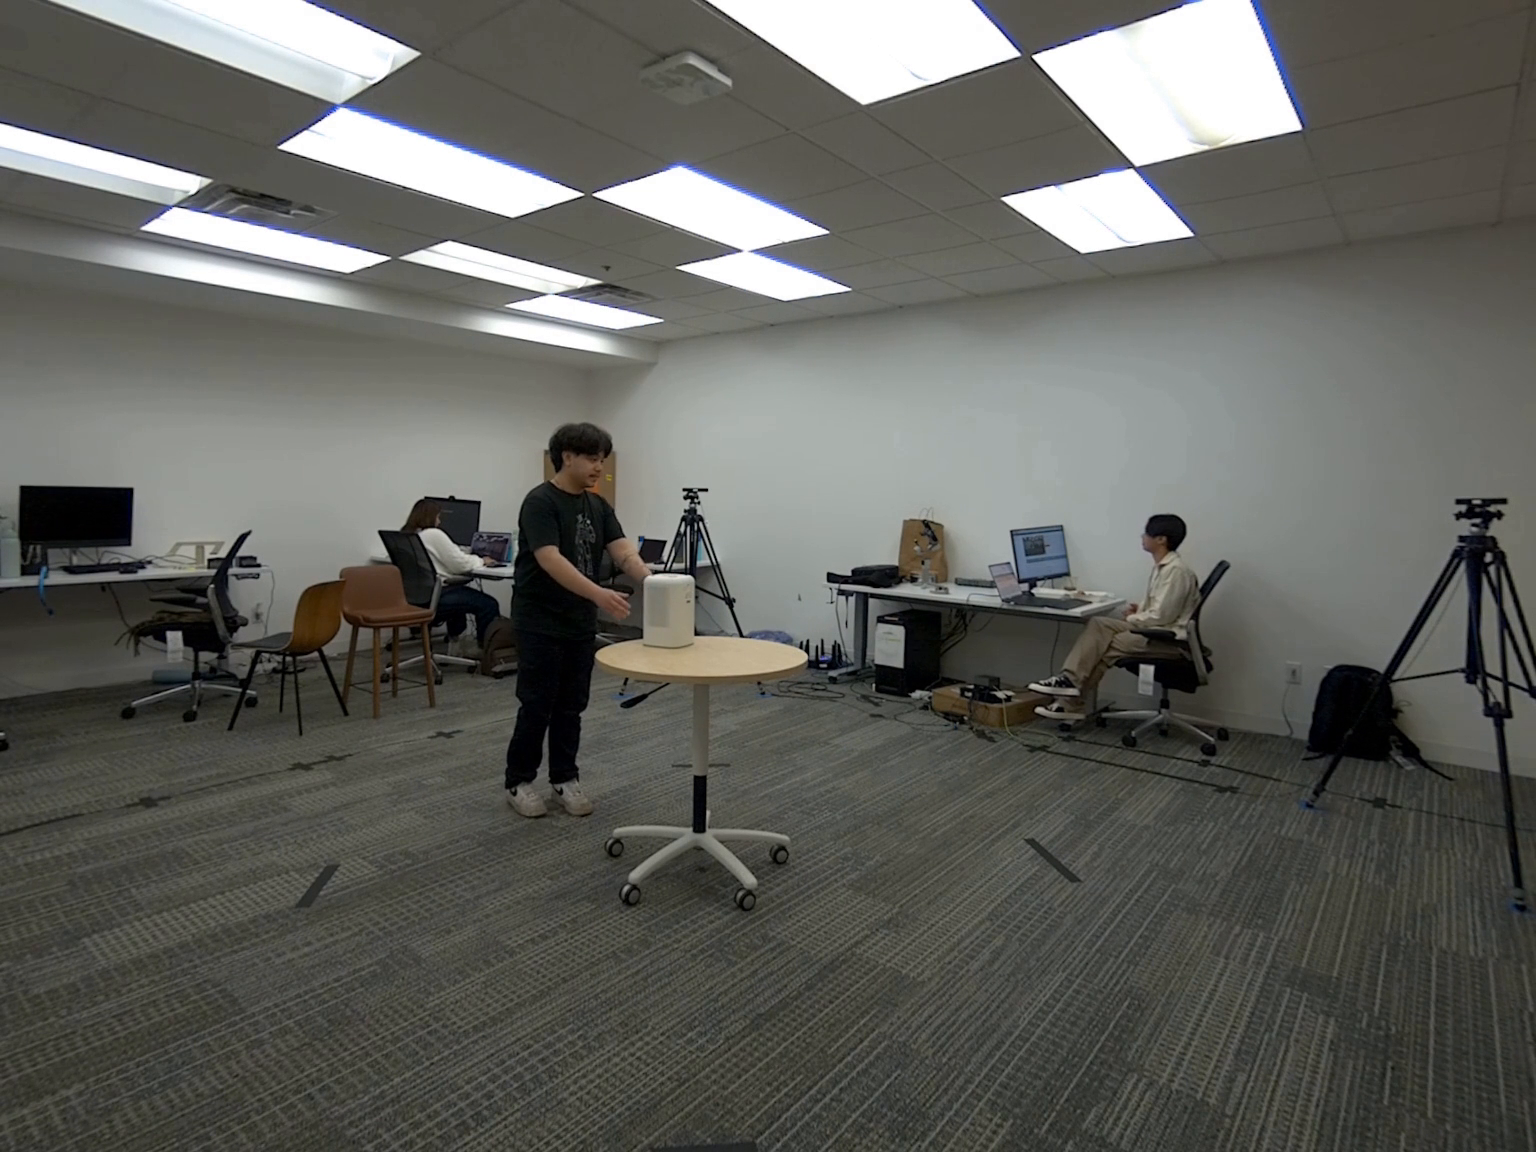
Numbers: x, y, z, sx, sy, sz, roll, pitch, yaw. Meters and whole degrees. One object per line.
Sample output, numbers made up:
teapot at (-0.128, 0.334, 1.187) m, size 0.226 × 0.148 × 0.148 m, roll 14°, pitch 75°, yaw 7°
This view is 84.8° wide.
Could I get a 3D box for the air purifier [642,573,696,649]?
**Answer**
air purifier at (-0.391, 0.126, 3.269) m, size 0.176 × 0.265 × 0.167 m, roll 1°, pitch 3°, yaw 26°
